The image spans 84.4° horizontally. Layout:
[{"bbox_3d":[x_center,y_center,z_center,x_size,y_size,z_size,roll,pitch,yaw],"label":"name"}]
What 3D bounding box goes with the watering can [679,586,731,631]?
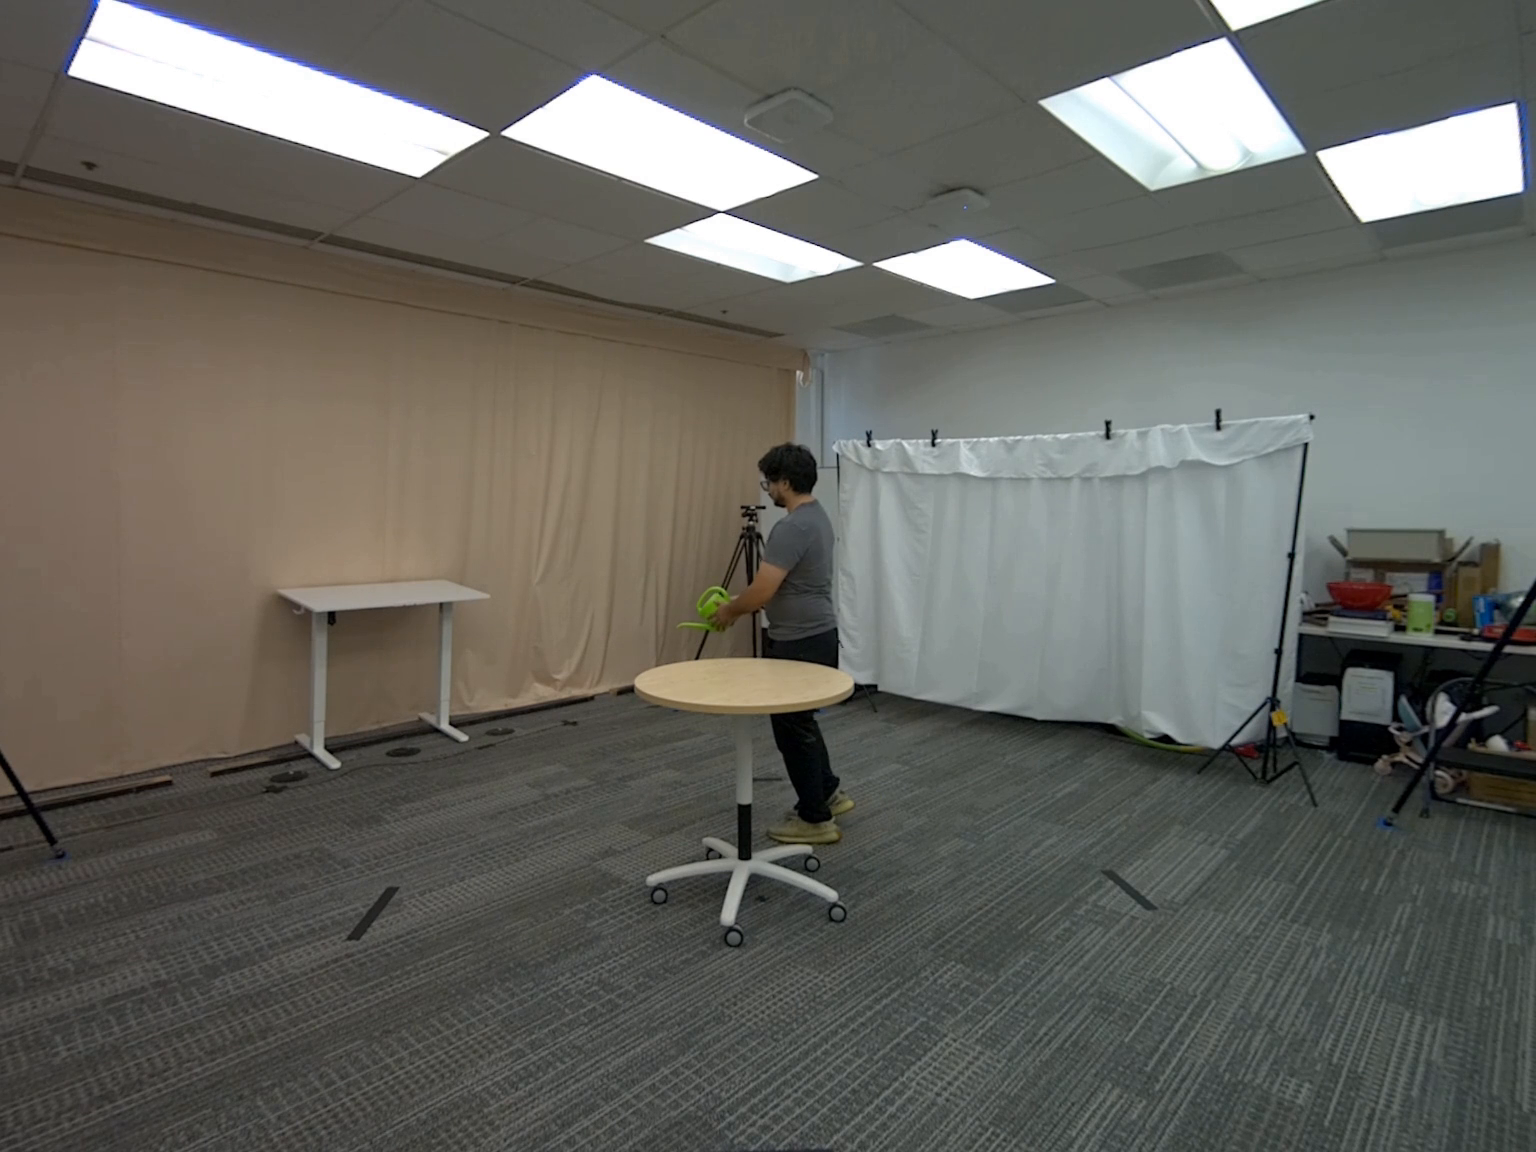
[{"bbox_3d":[-0.248,0.179,3.713,0.178,0.279,0.097,41,30,4],"label":"watering can"}]
